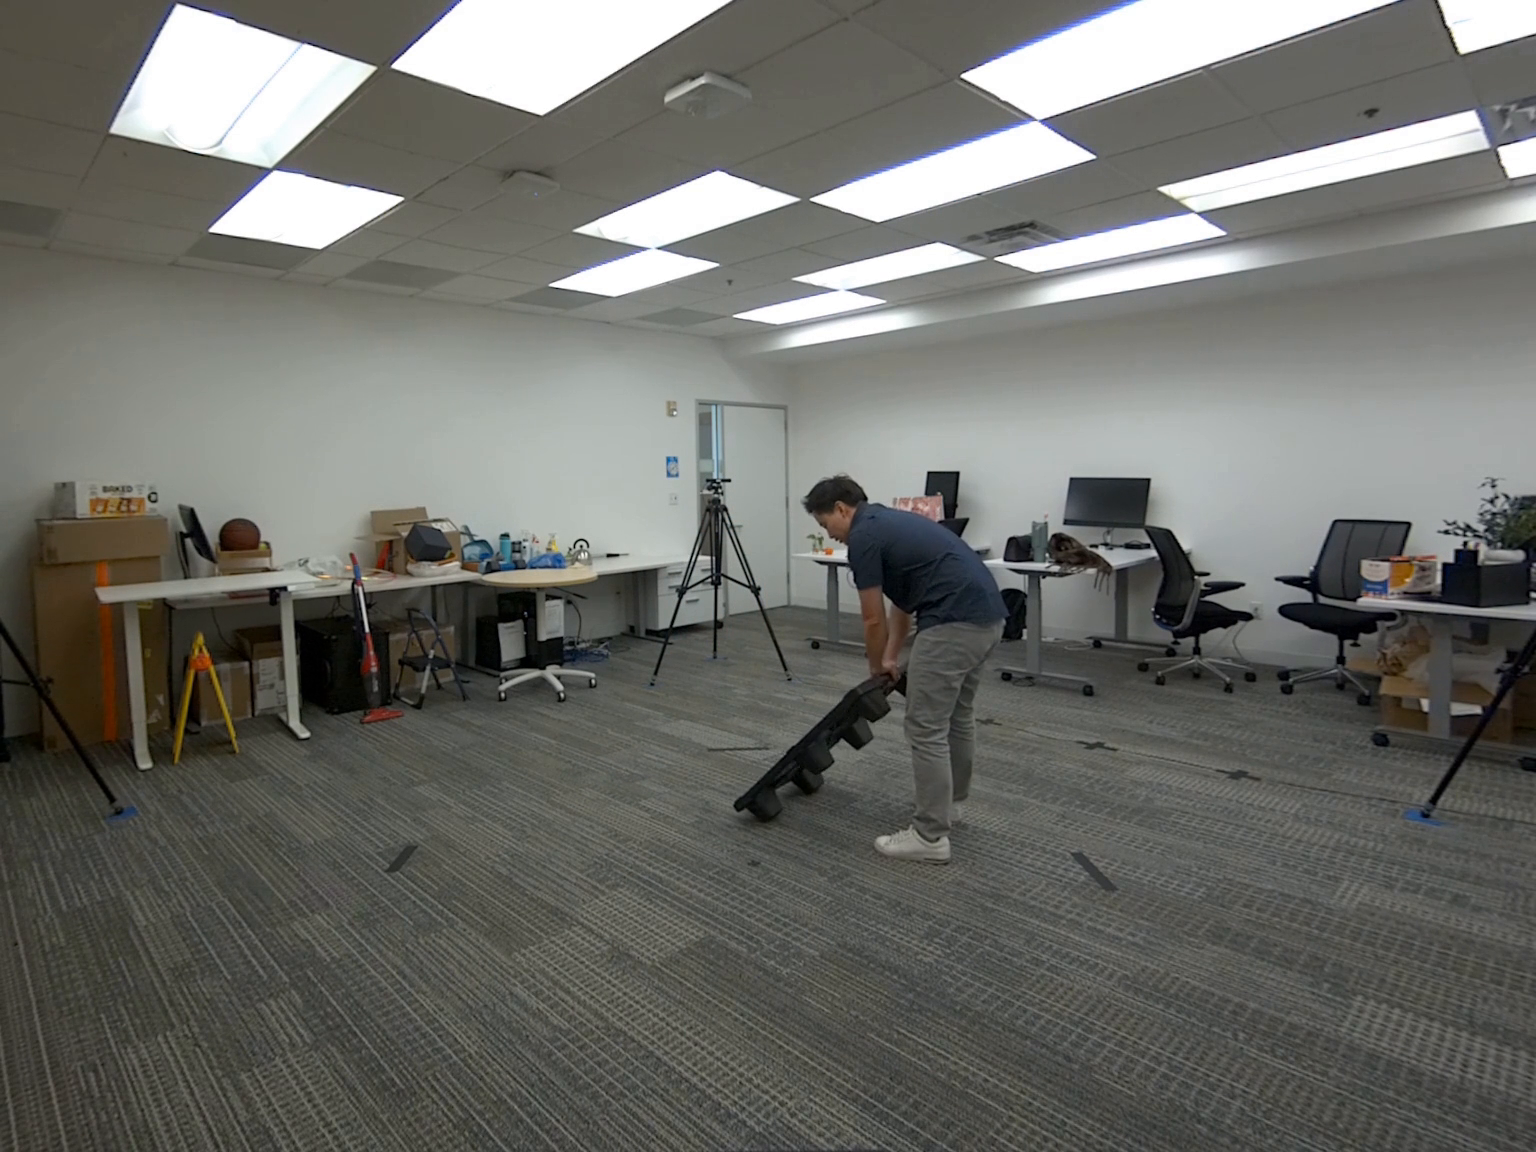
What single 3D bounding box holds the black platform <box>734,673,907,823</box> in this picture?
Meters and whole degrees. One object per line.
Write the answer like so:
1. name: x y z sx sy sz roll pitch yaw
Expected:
1. black platform: 0.276 0.684 3.515 0.804 0.147 0.591 -49 -19 26
